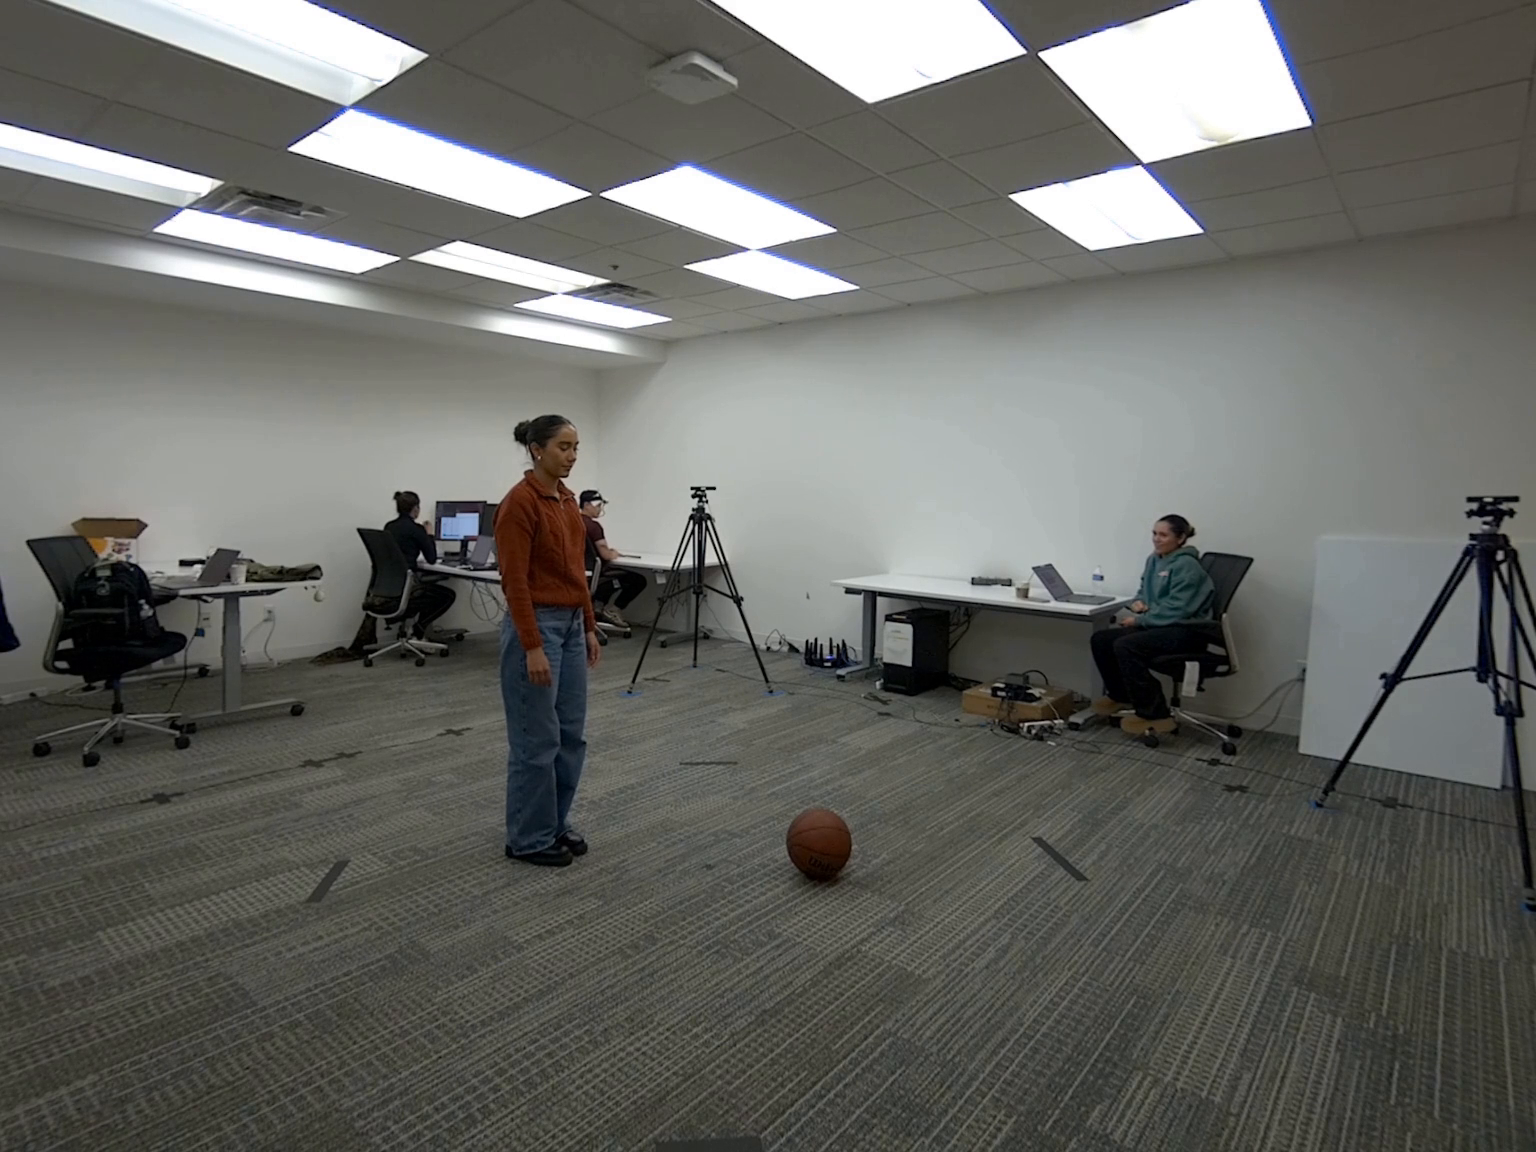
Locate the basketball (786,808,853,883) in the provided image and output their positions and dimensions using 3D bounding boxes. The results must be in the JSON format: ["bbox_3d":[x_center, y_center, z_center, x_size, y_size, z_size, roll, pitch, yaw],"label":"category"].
[{"bbox_3d":[0.172,0.953,3.072,0.236,0.235,0.237,1,4,-2],"label":"basketball"}]
